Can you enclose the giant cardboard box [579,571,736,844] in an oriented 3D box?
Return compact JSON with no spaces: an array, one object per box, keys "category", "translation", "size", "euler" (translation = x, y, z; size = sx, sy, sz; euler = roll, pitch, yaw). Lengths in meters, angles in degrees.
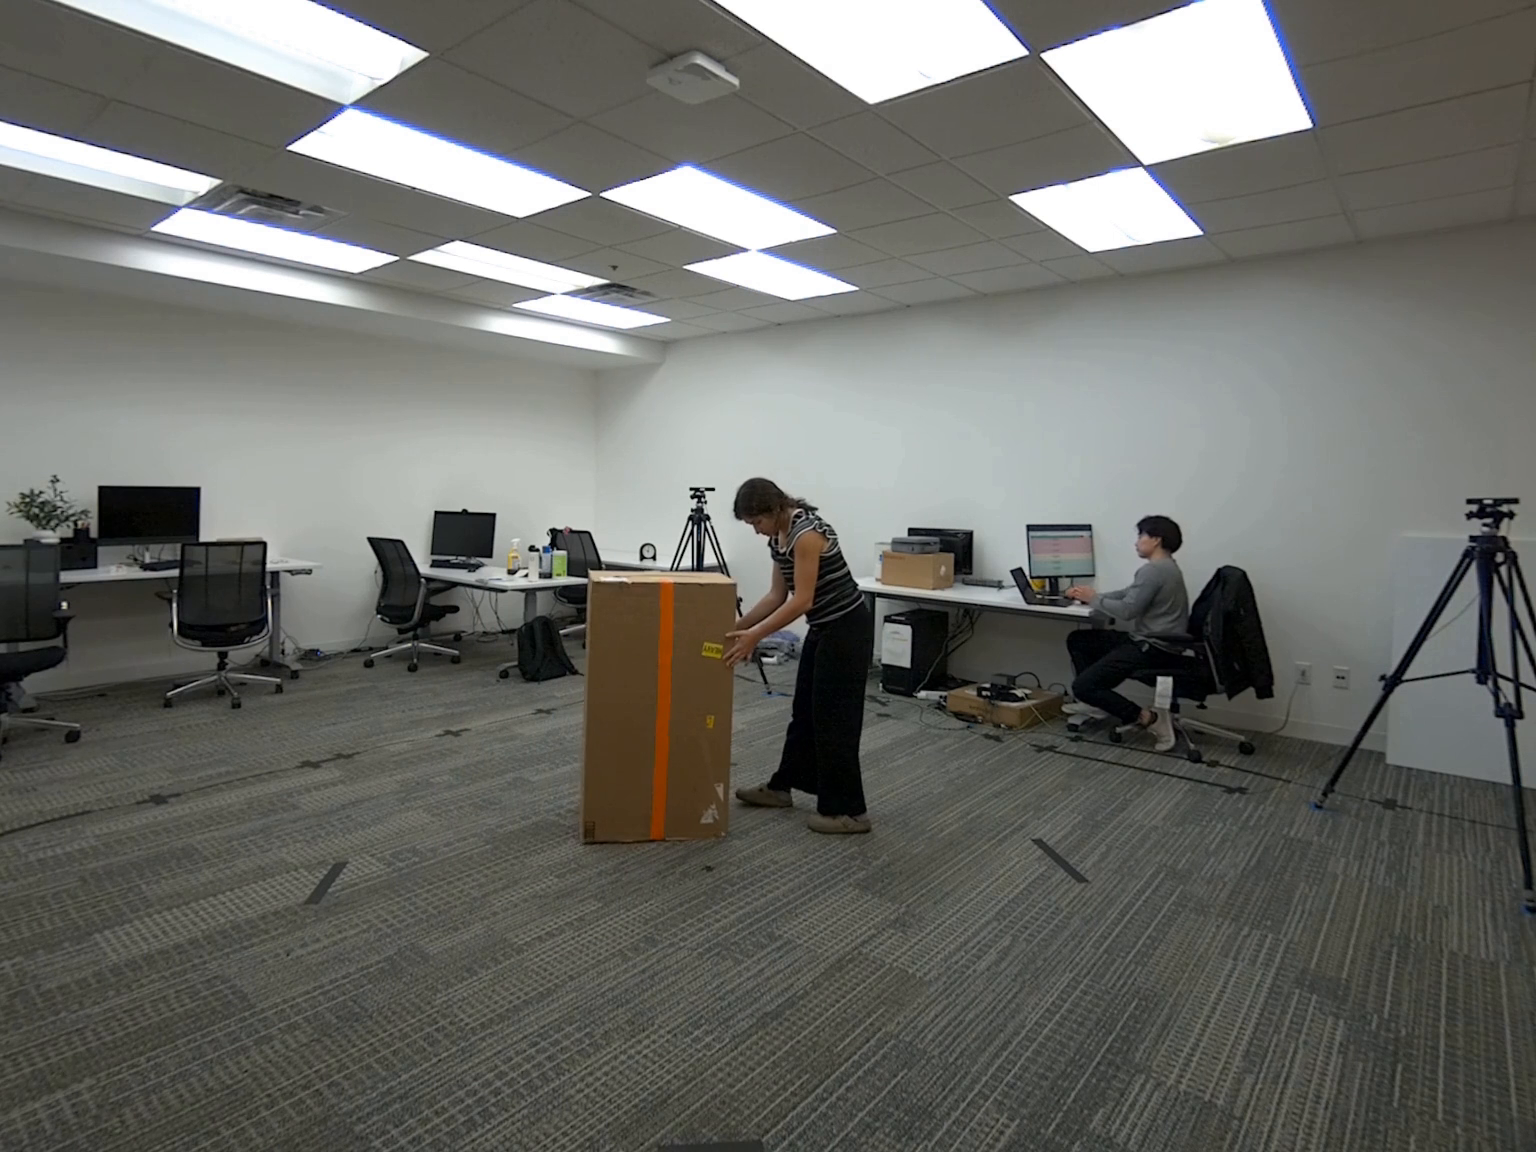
[{"category":"giant cardboard box","translation":[-0.477,0.507,3.523],"size":[0.570,1.023,0.433],"euler":[2,3,-12]}]
